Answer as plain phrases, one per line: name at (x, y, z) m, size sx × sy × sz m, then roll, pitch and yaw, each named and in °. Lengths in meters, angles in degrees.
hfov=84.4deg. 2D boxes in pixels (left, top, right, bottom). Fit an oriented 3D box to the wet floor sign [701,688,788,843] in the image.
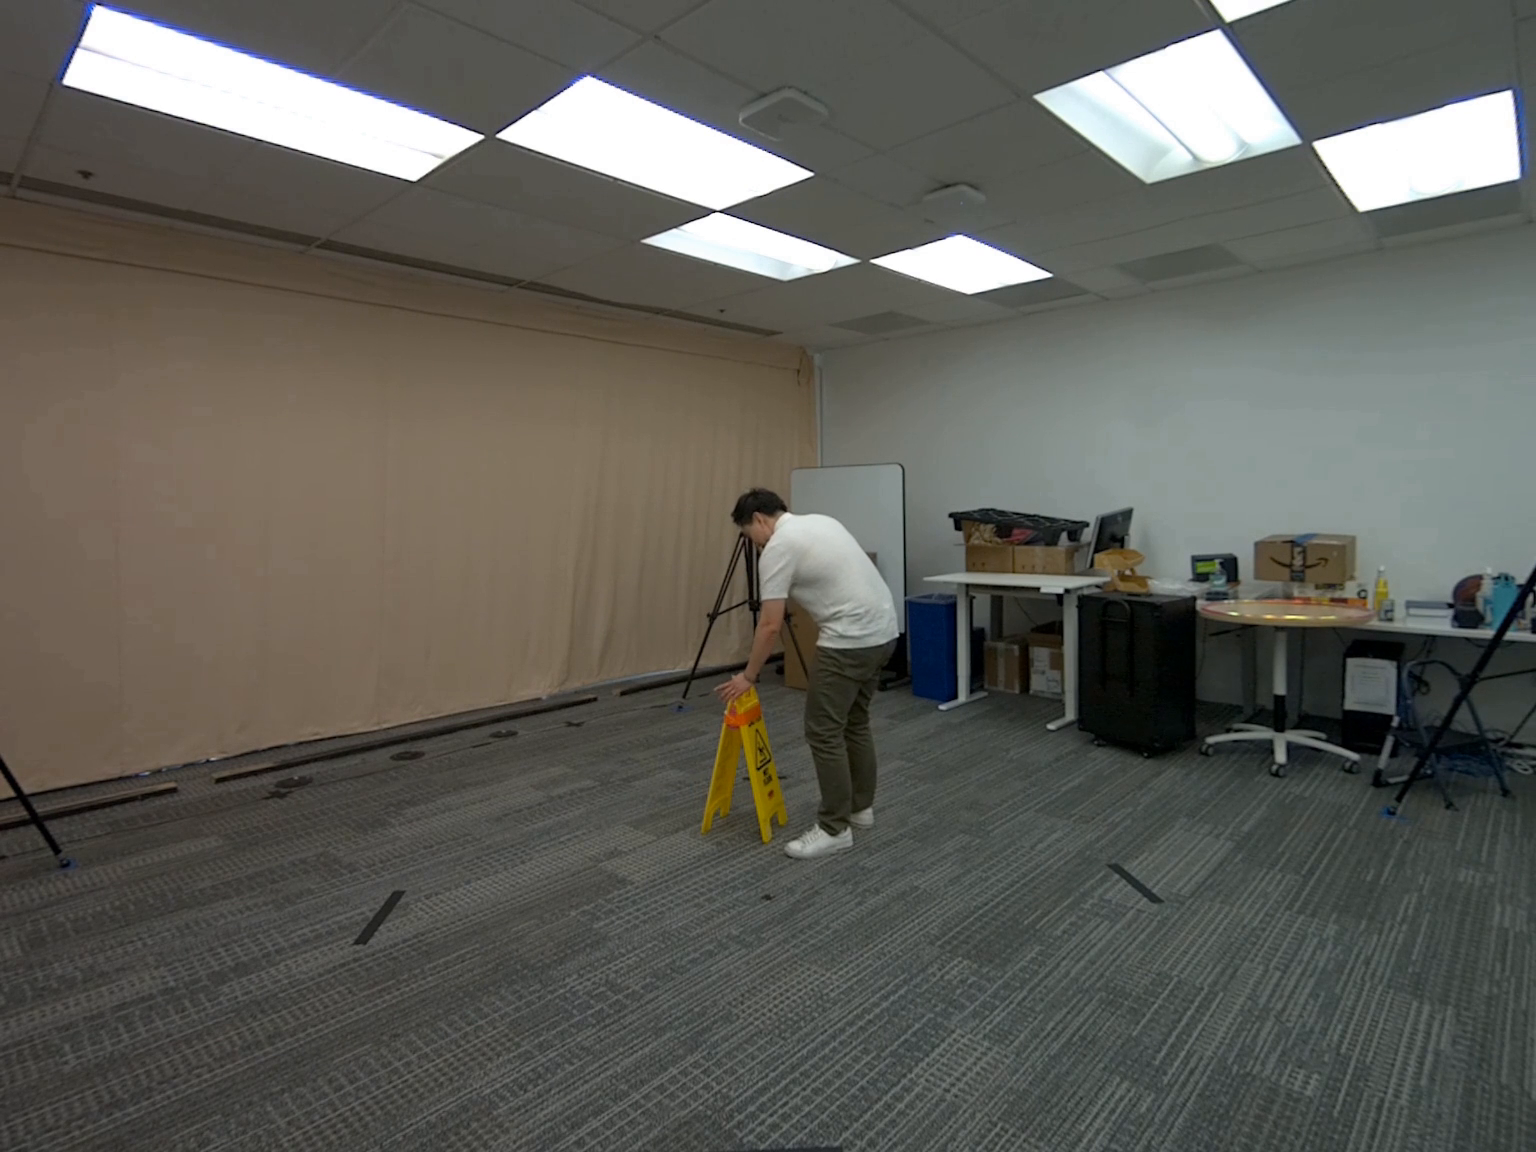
wet floor sign at (-0.106, 0.767, 3.626) m, size 0.296 × 0.645 × 0.276 m, roll -1°, pitch 1°, yaw 21°
